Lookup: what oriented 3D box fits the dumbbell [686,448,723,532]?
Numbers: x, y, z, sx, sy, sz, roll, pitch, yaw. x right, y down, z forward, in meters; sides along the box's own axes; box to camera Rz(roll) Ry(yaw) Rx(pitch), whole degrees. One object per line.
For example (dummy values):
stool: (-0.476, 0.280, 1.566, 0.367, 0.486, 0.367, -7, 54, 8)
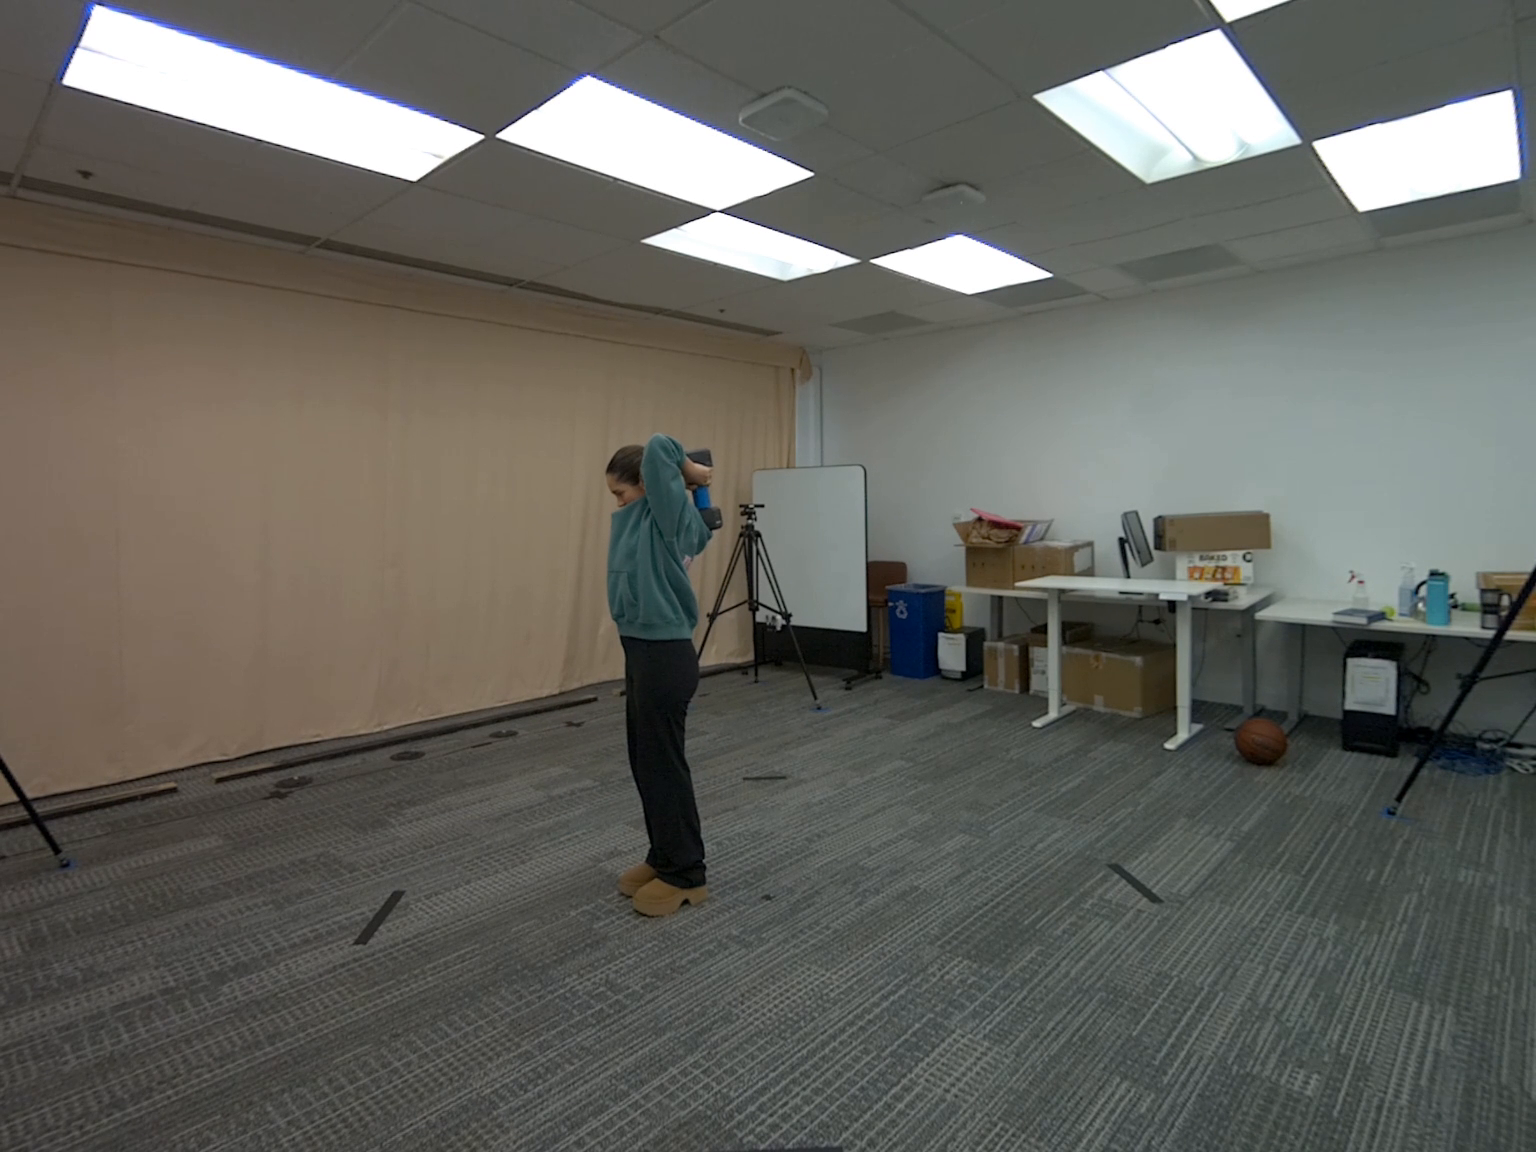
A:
dumbbell: (-0.243, -0.308, 3.003, 0.121, 0.292, 0.111, -14, 5, -19)
